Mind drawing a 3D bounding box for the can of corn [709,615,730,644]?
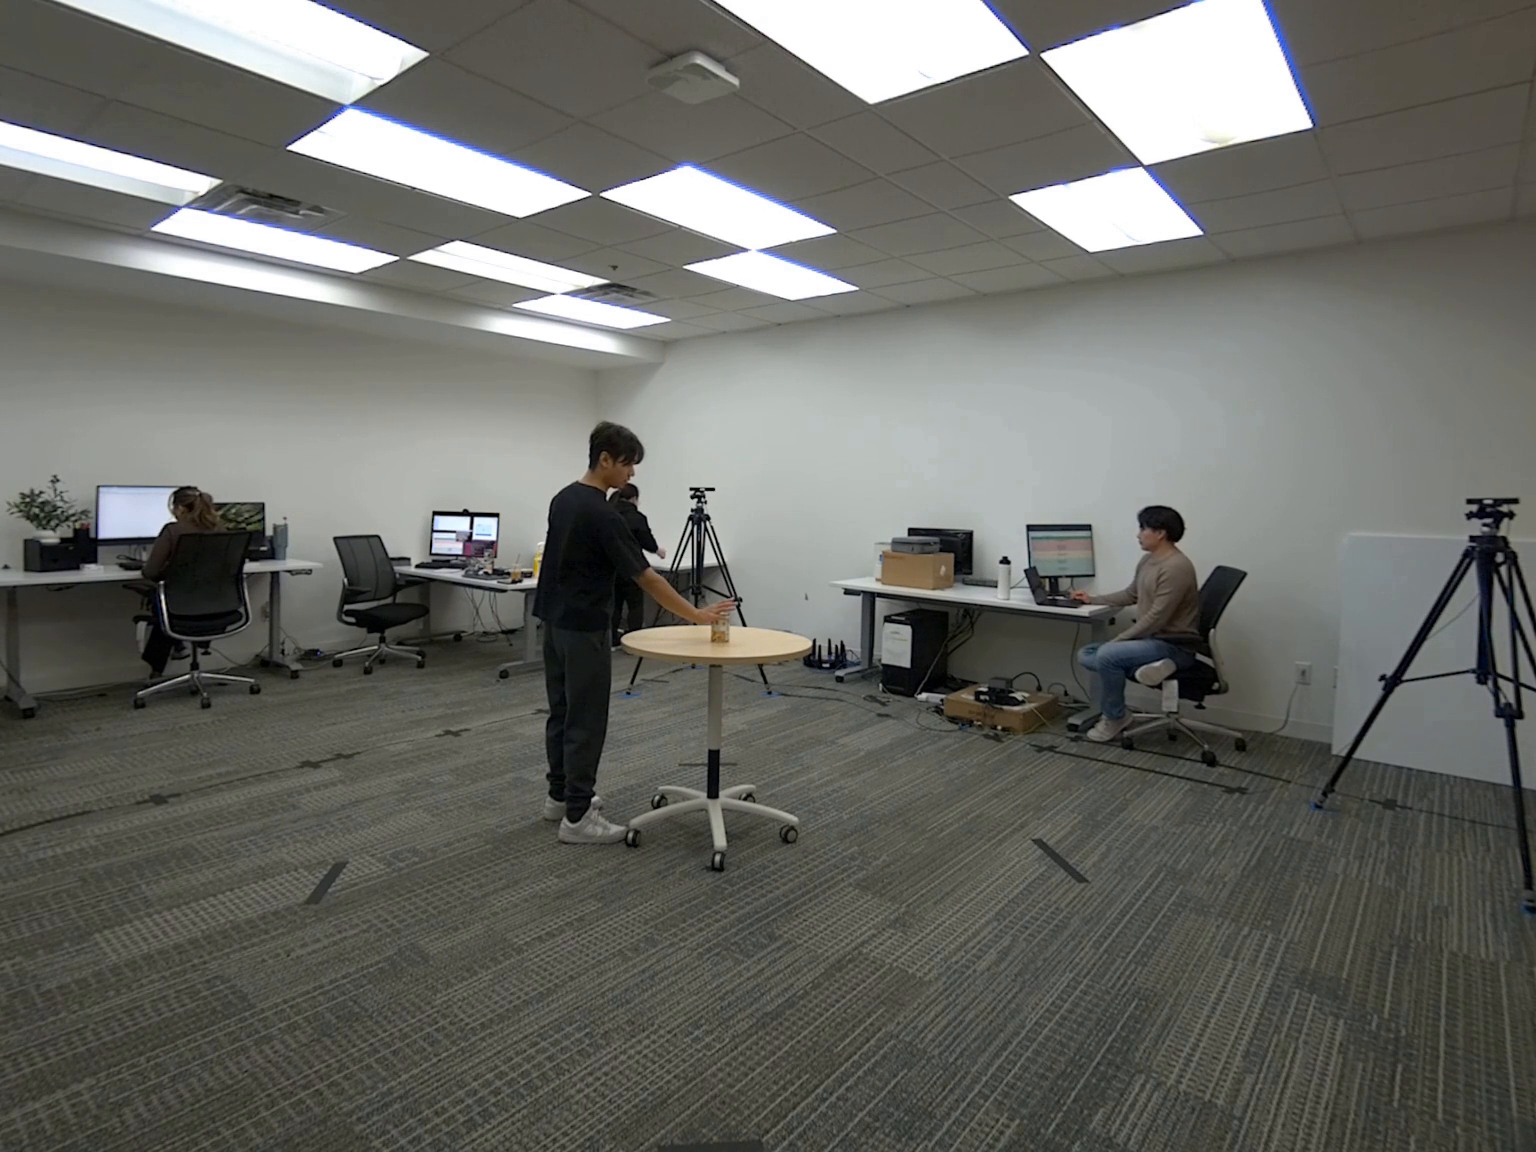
[{"bbox_3d":[-0.205,0.203,3.384,0.074,0.111,0.074,2,4,-2],"label":"can of corn"}]
